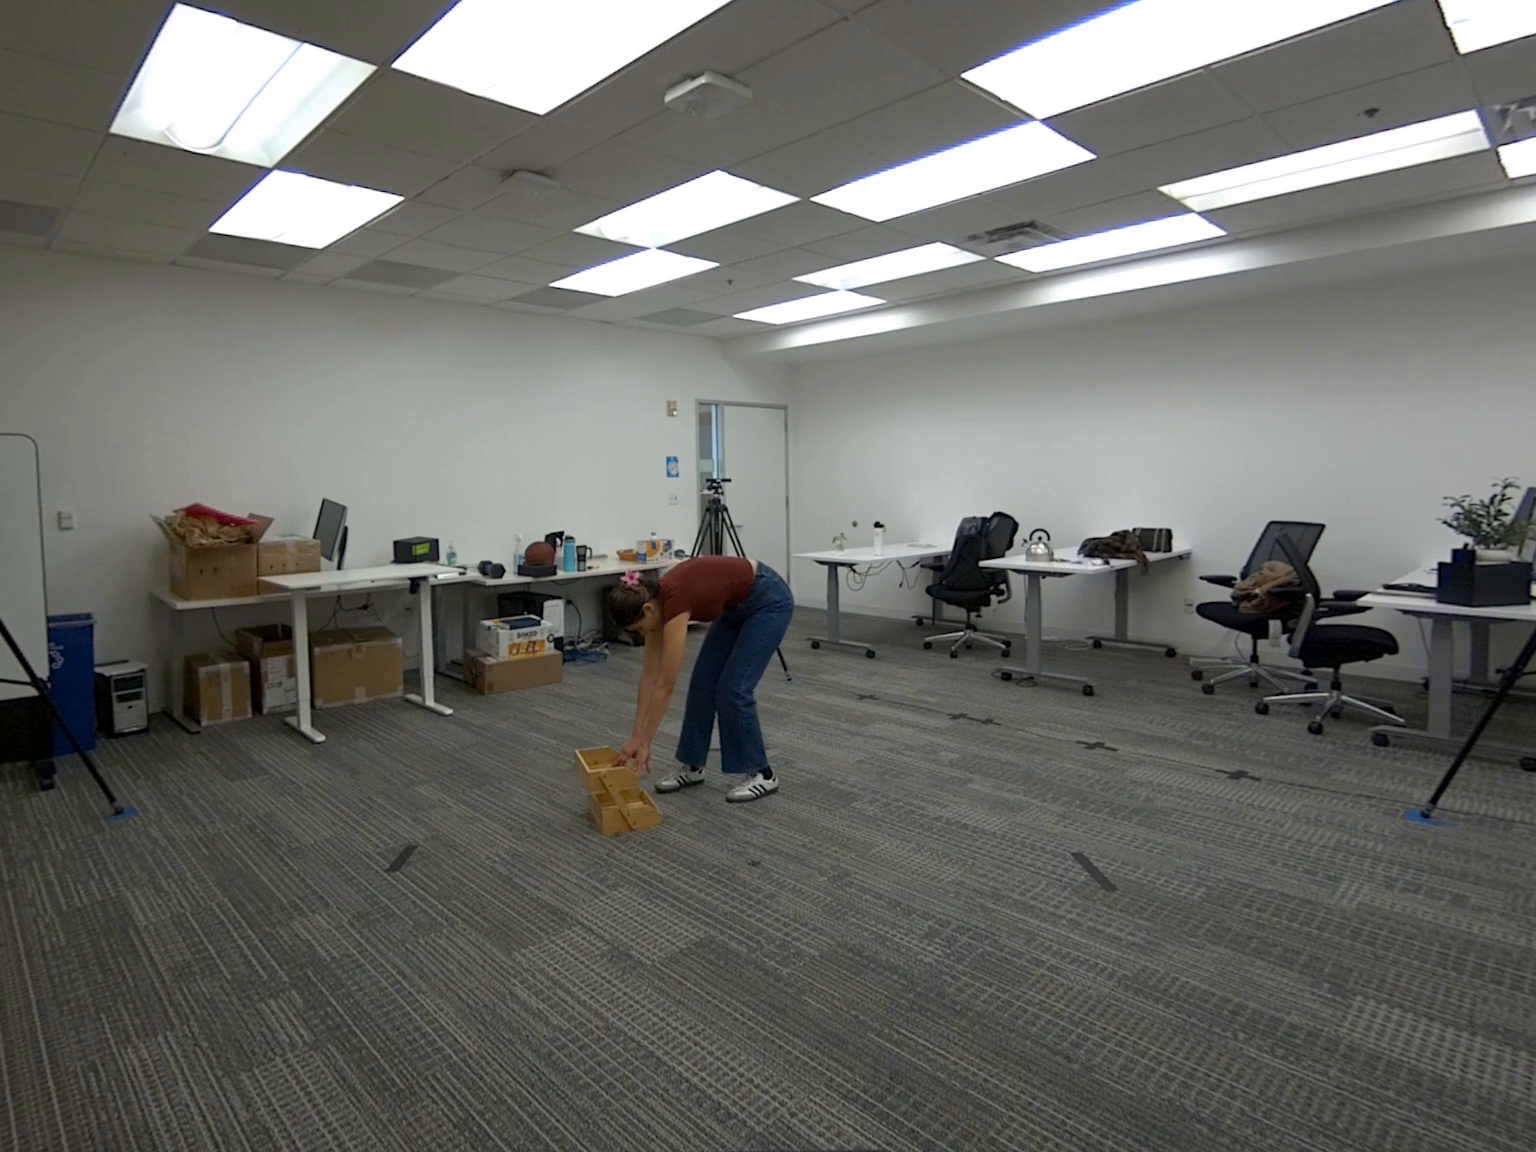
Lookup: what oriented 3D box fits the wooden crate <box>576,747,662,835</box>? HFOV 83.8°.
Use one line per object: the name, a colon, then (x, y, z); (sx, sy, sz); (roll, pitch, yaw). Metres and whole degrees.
wooden crate: (-0.616, 0.870, 3.544); (0.296, 0.272, 0.332); (-3, 6, -21)
